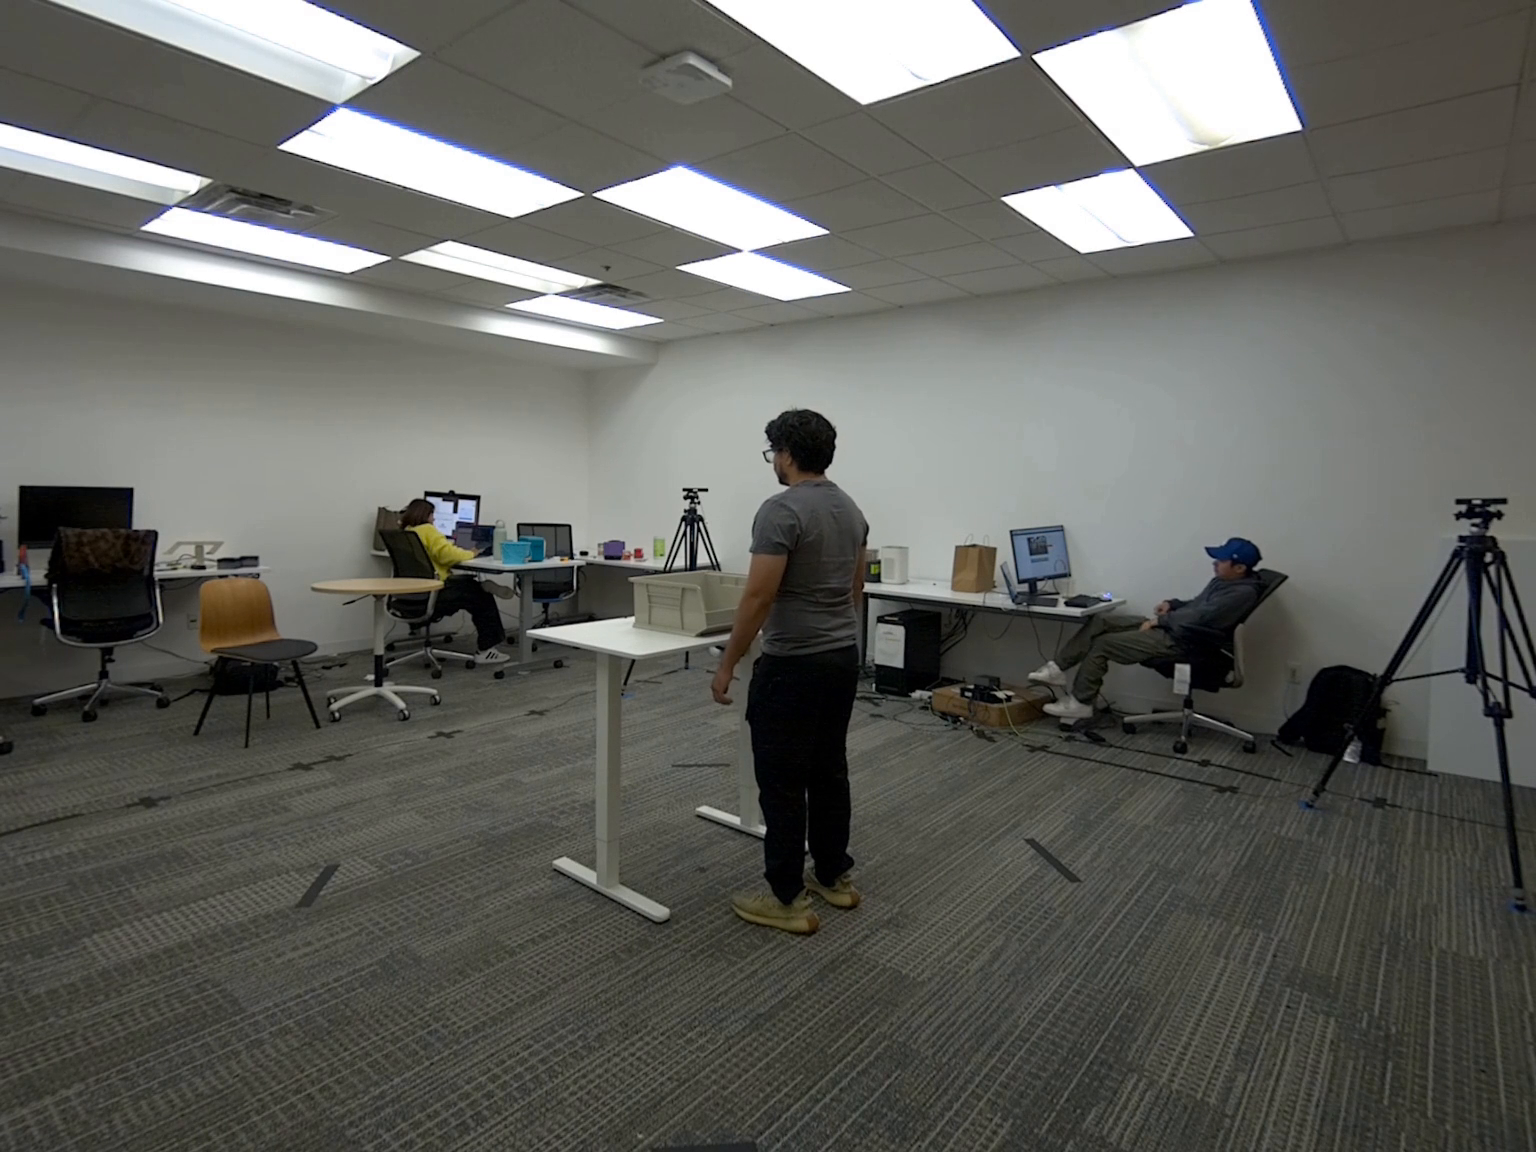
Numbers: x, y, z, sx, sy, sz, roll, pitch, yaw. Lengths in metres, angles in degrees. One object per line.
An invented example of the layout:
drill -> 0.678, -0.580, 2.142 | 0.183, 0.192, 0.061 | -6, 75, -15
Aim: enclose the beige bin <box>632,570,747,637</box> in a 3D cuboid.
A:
beige bin -> -0.239, 0.095, 3.131 | 0.390, 0.188, 0.410 | 3, 6, 39
